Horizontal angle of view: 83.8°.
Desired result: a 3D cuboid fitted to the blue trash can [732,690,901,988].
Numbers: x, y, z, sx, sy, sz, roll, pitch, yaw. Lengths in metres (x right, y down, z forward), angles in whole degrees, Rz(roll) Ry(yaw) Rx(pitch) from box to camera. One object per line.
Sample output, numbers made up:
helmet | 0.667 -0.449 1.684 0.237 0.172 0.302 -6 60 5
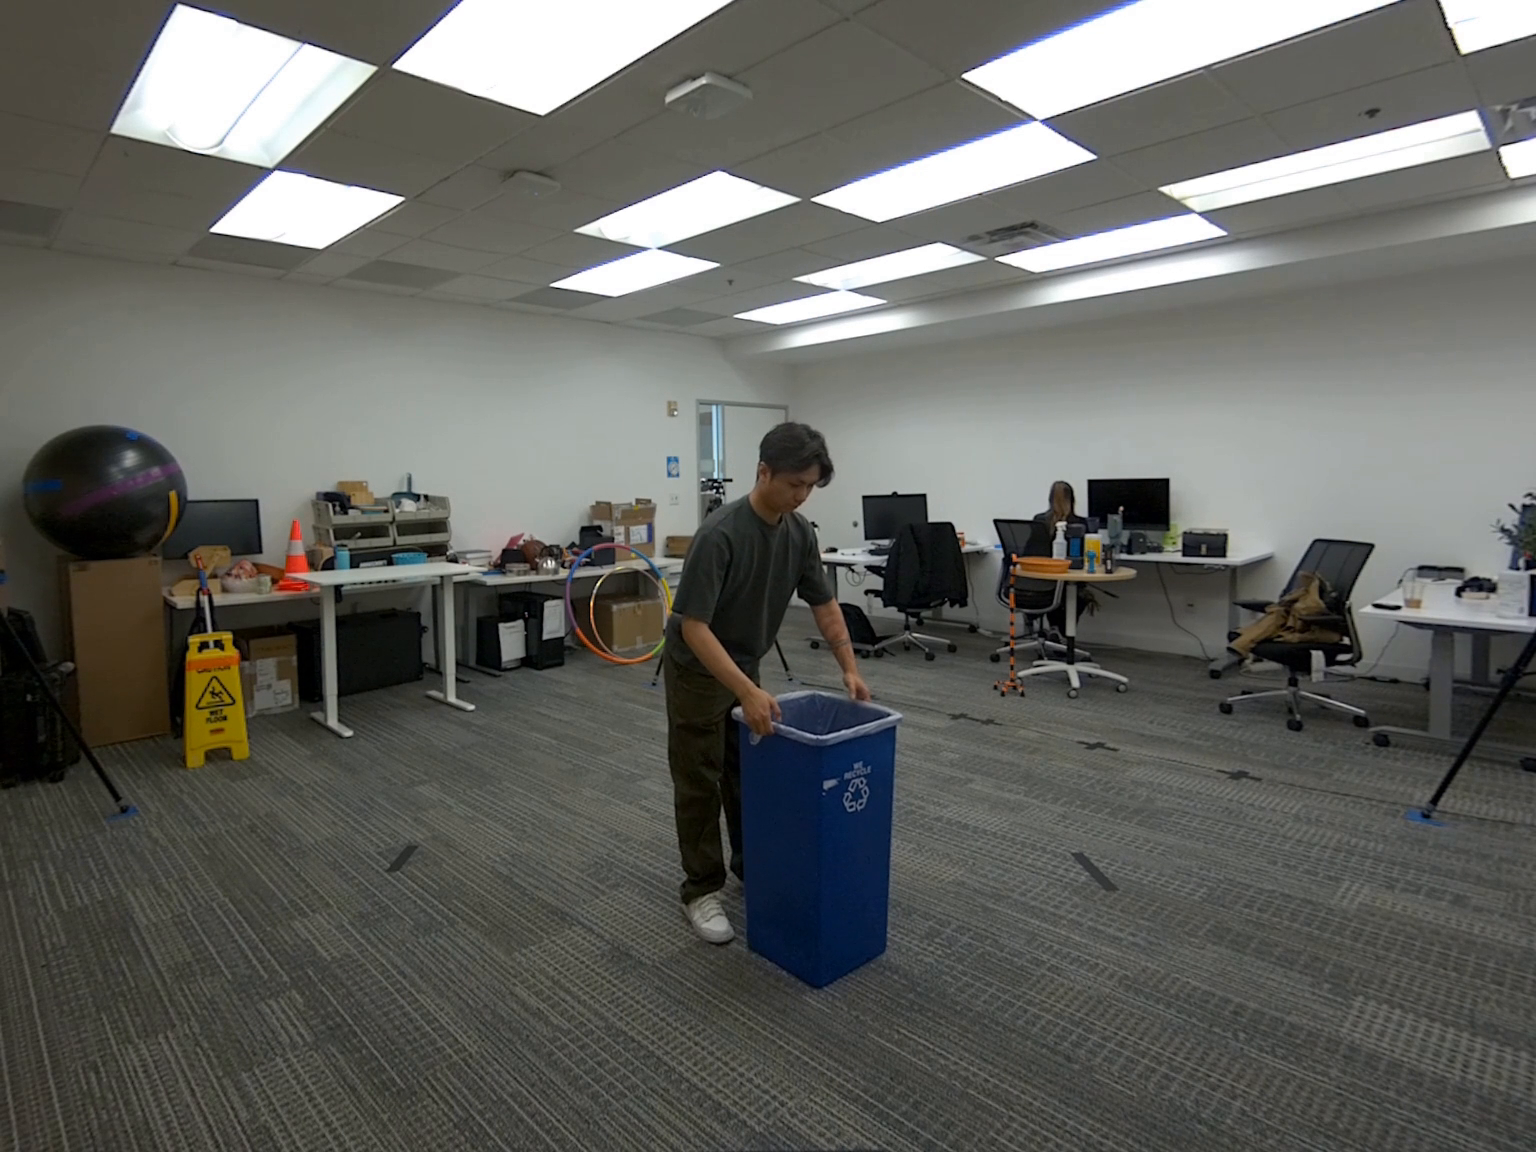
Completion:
blue trash can | 0.149 0.747 2.518 0.364 0.710 0.390 -5 7 -42
